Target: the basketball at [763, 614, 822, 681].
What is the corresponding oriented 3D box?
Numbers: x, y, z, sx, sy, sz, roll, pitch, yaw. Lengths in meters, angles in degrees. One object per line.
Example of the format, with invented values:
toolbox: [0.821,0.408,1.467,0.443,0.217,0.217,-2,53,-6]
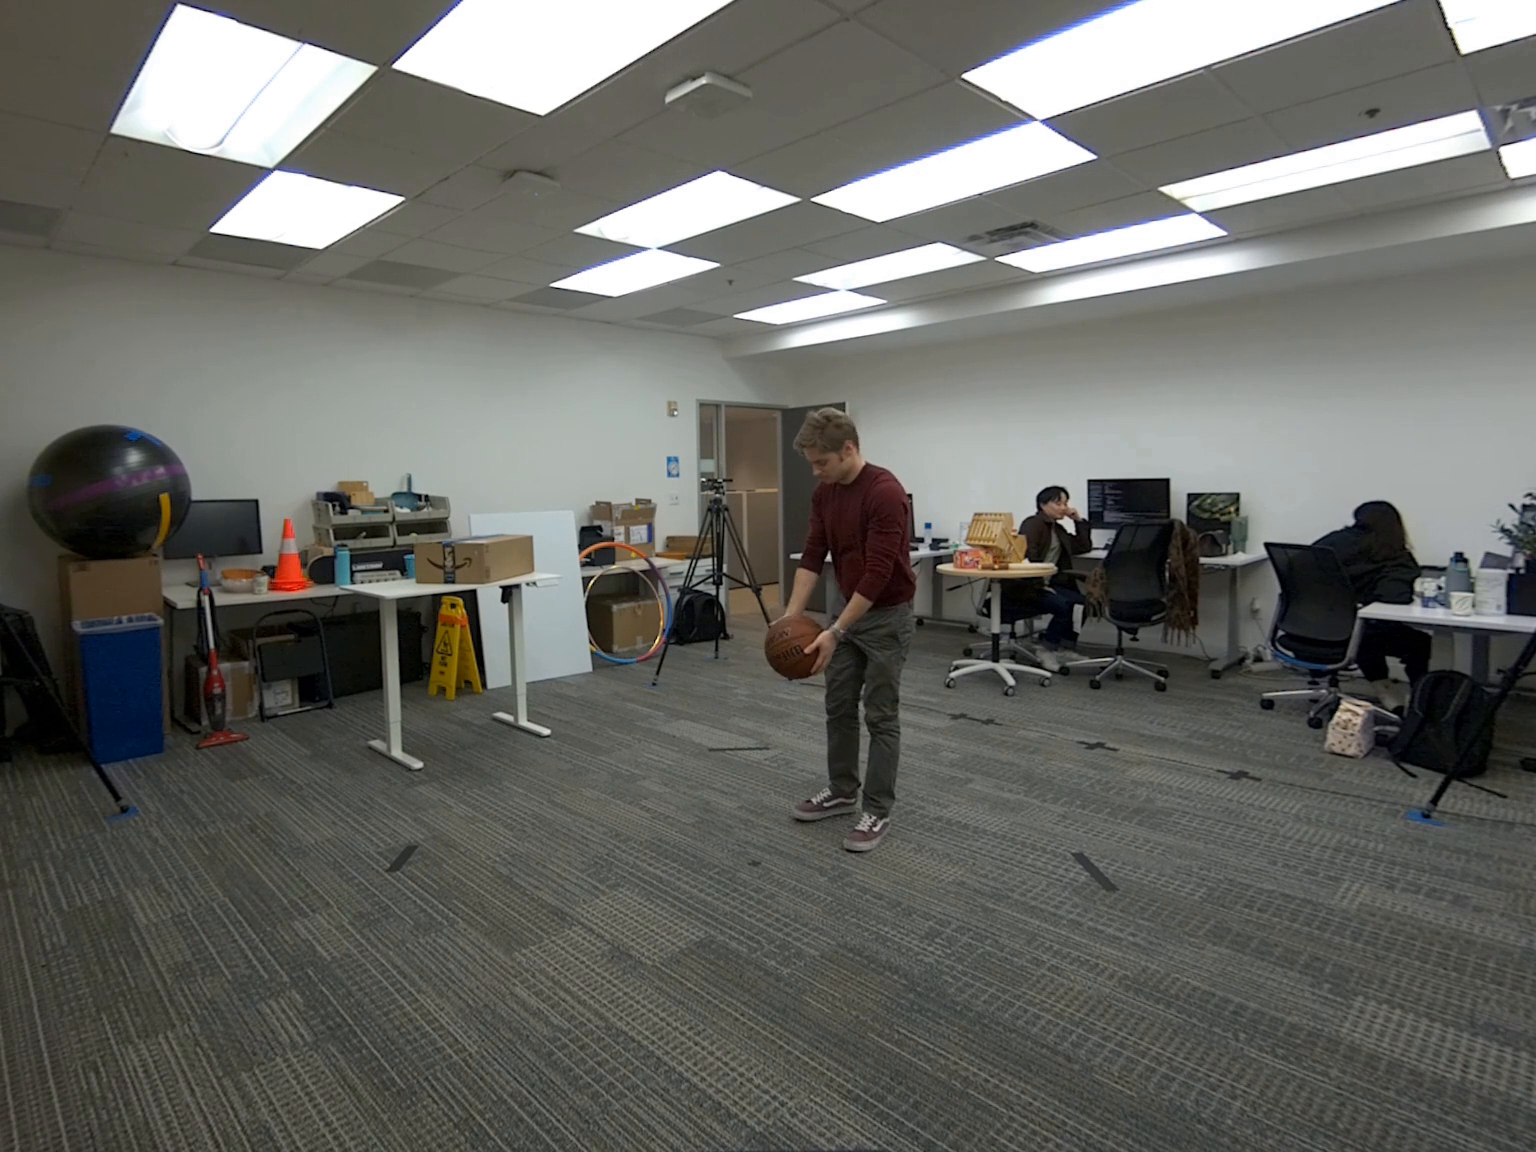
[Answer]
basketball: [0.109,0.253,3.185,0.236,0.235,0.237,-1,5,-2]
